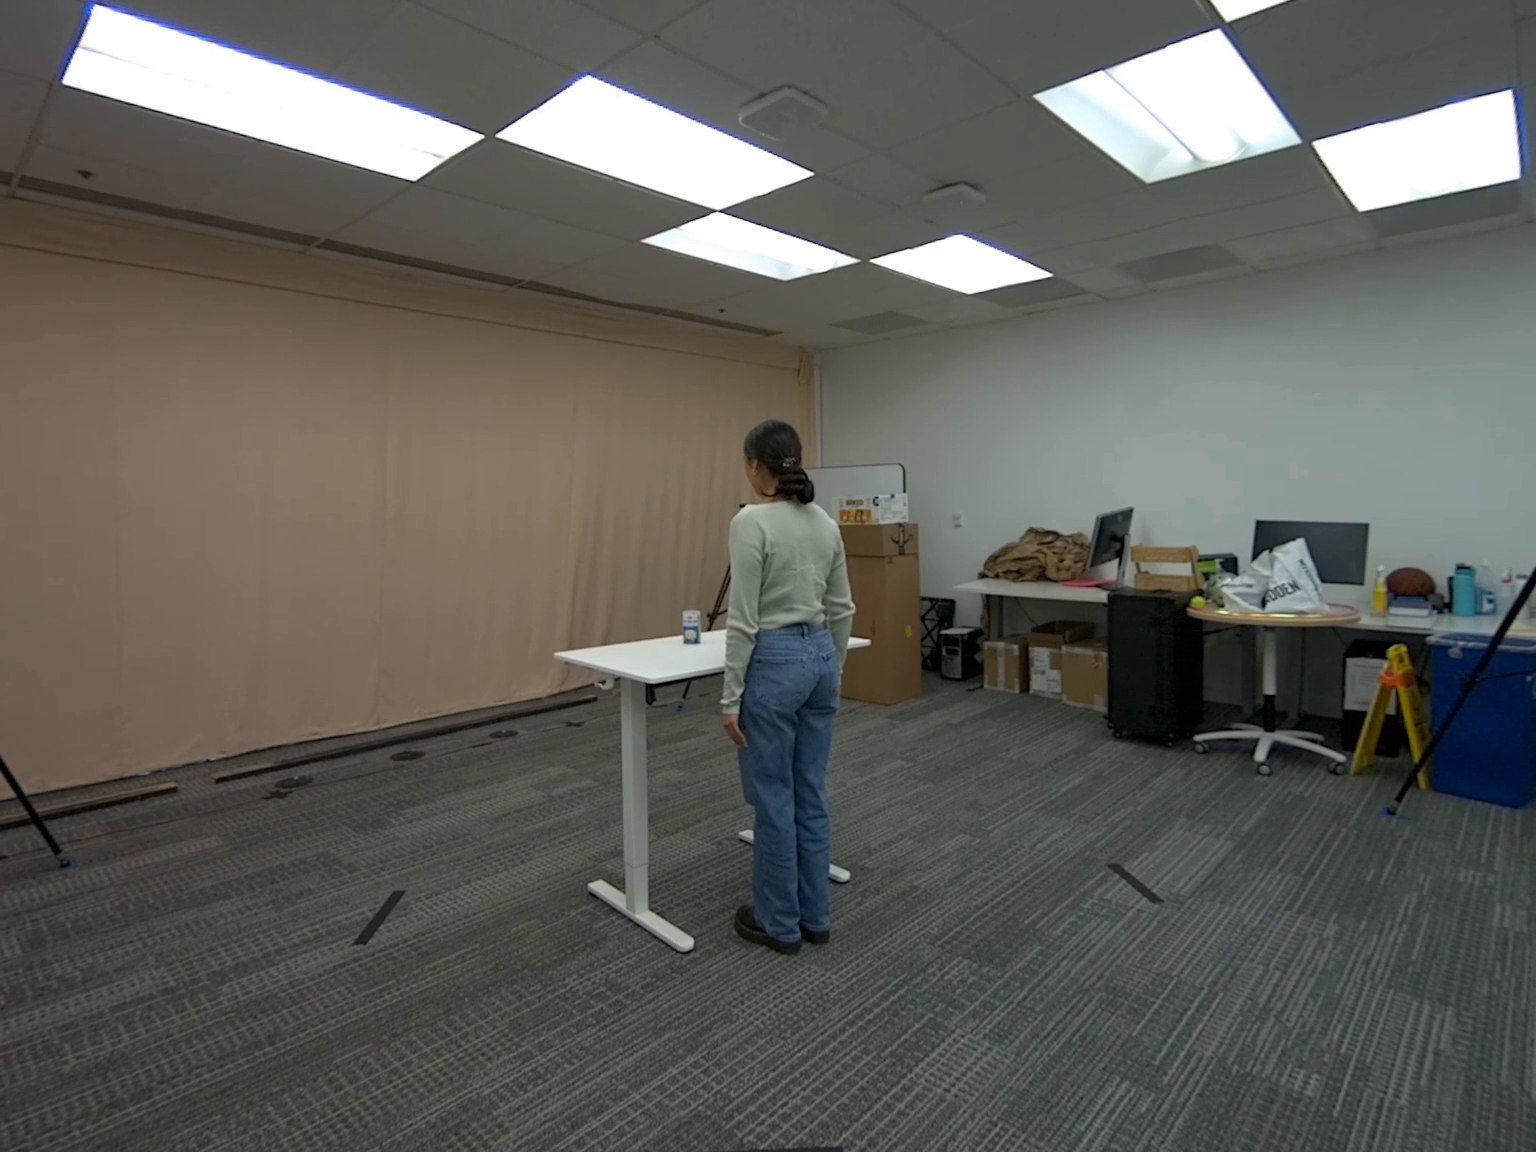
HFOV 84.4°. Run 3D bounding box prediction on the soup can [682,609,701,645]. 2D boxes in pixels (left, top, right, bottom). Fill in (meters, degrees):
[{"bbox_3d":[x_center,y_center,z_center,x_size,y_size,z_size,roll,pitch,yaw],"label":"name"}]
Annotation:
[{"bbox_3d":[-0.279,0.192,3.121,0.067,0.121,0.067,-1,4,-2],"label":"soup can"}]
